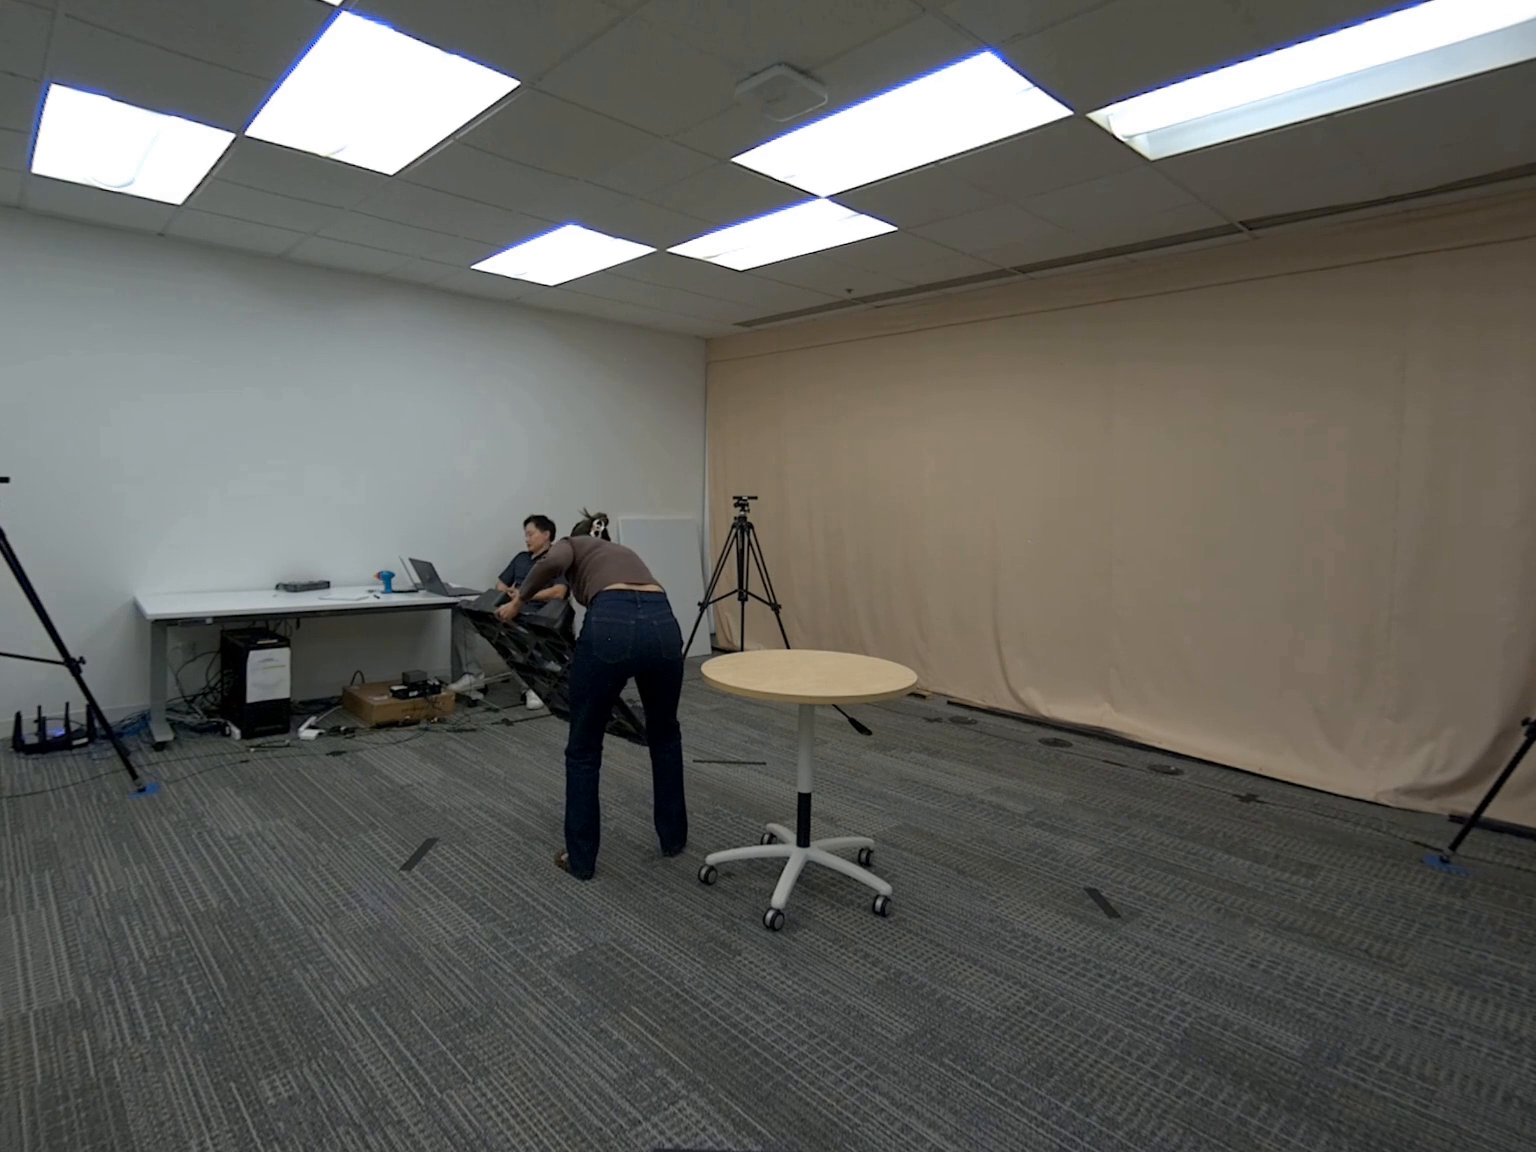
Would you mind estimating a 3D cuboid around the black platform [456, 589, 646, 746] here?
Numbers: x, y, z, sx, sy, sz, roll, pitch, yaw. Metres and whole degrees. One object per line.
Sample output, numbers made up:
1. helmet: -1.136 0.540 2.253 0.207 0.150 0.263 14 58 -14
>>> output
1. black platform: -0.836 0.367 3.425 0.620 0.144 0.781 8 -39 35
